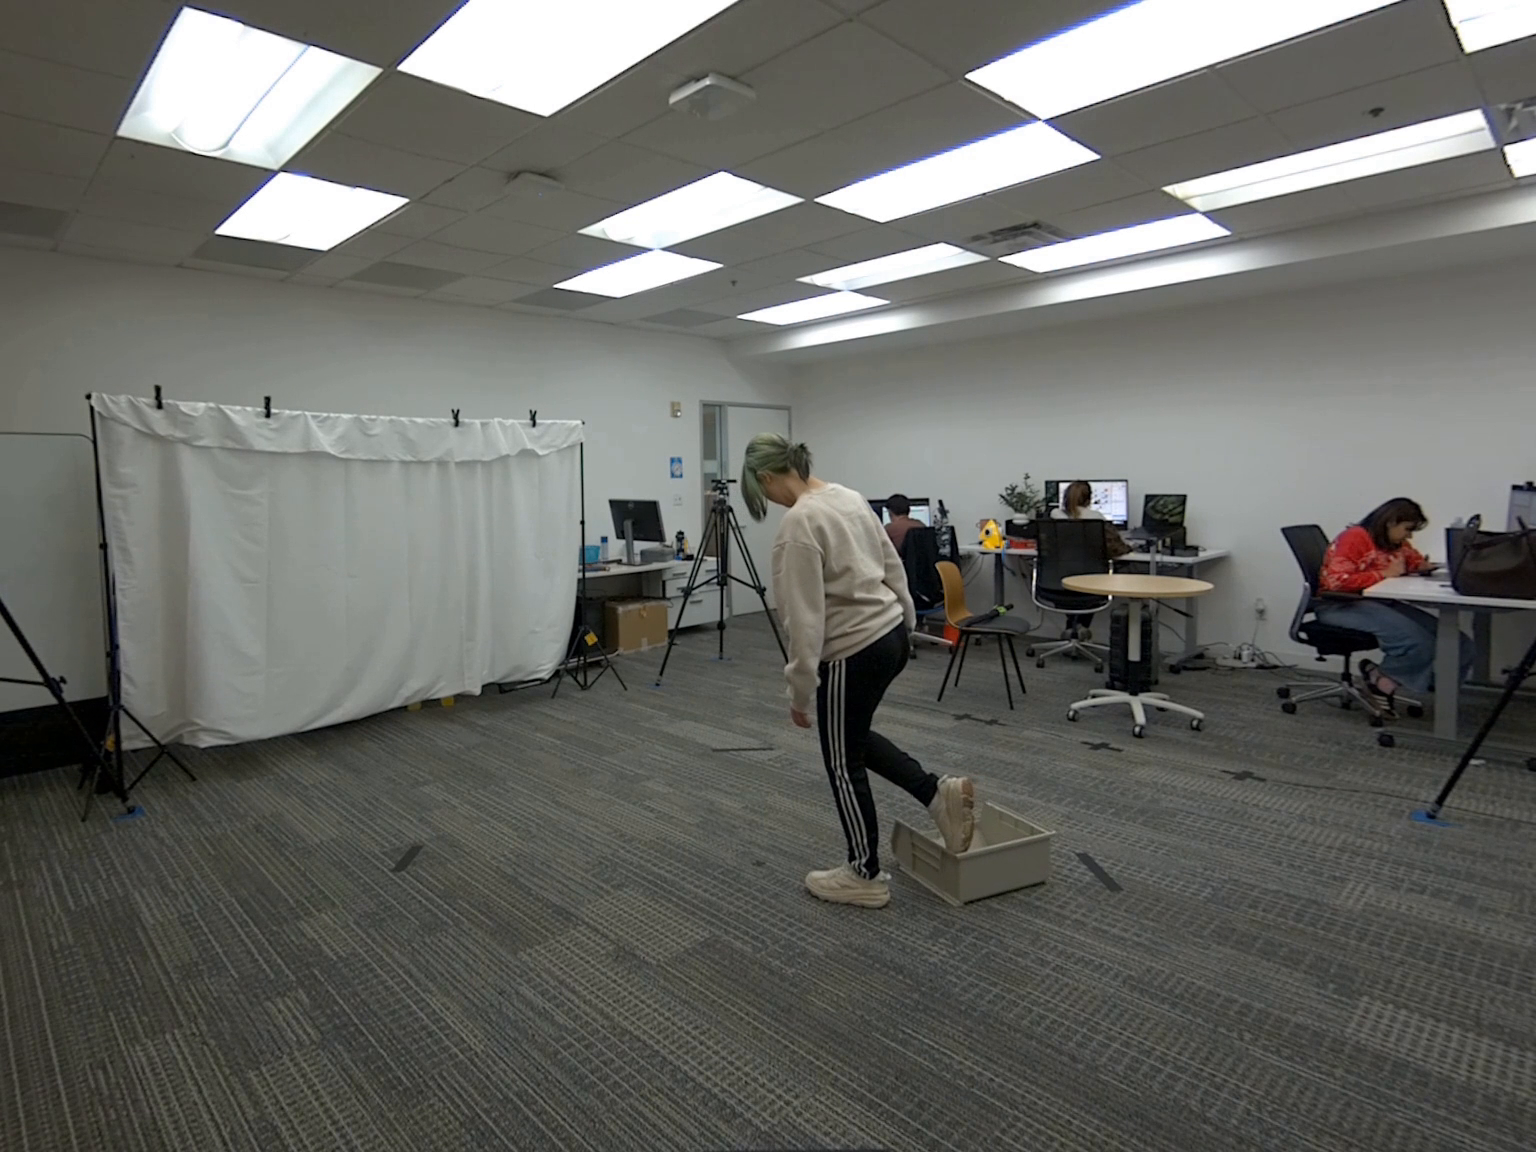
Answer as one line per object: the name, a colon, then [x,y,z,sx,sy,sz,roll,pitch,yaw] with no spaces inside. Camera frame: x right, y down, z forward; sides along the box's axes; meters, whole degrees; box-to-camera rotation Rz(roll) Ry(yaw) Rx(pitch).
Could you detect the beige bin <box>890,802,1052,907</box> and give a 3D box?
beige bin: [0.712,0.953,2.998,0.413,0.188,0.387,-3,7,-25]
